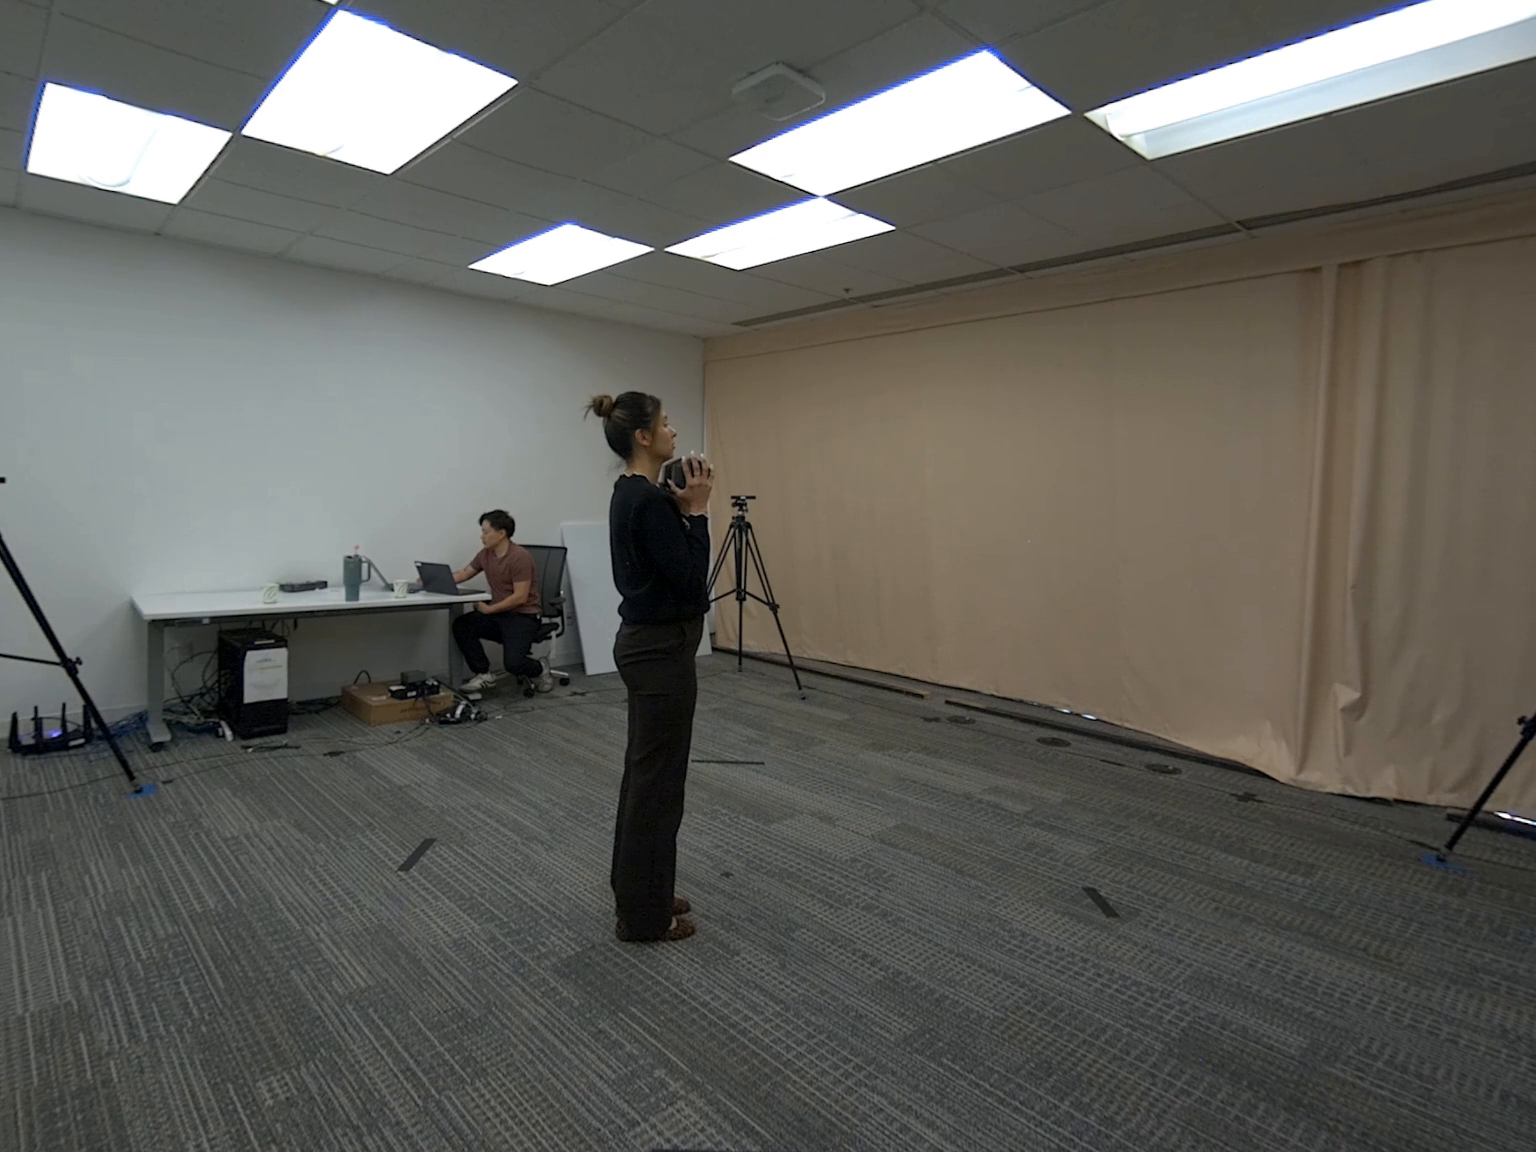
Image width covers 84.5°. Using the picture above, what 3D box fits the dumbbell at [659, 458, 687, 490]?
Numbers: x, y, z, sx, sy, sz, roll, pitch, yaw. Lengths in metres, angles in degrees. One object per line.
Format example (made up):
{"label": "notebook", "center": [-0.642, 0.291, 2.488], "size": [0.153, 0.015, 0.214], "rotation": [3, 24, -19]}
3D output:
{"label": "dumbbell", "center": [-0.280, -0.319, 2.669], "size": [0.107, 0.123, 0.298], "rotation": [7, 3, -18]}
